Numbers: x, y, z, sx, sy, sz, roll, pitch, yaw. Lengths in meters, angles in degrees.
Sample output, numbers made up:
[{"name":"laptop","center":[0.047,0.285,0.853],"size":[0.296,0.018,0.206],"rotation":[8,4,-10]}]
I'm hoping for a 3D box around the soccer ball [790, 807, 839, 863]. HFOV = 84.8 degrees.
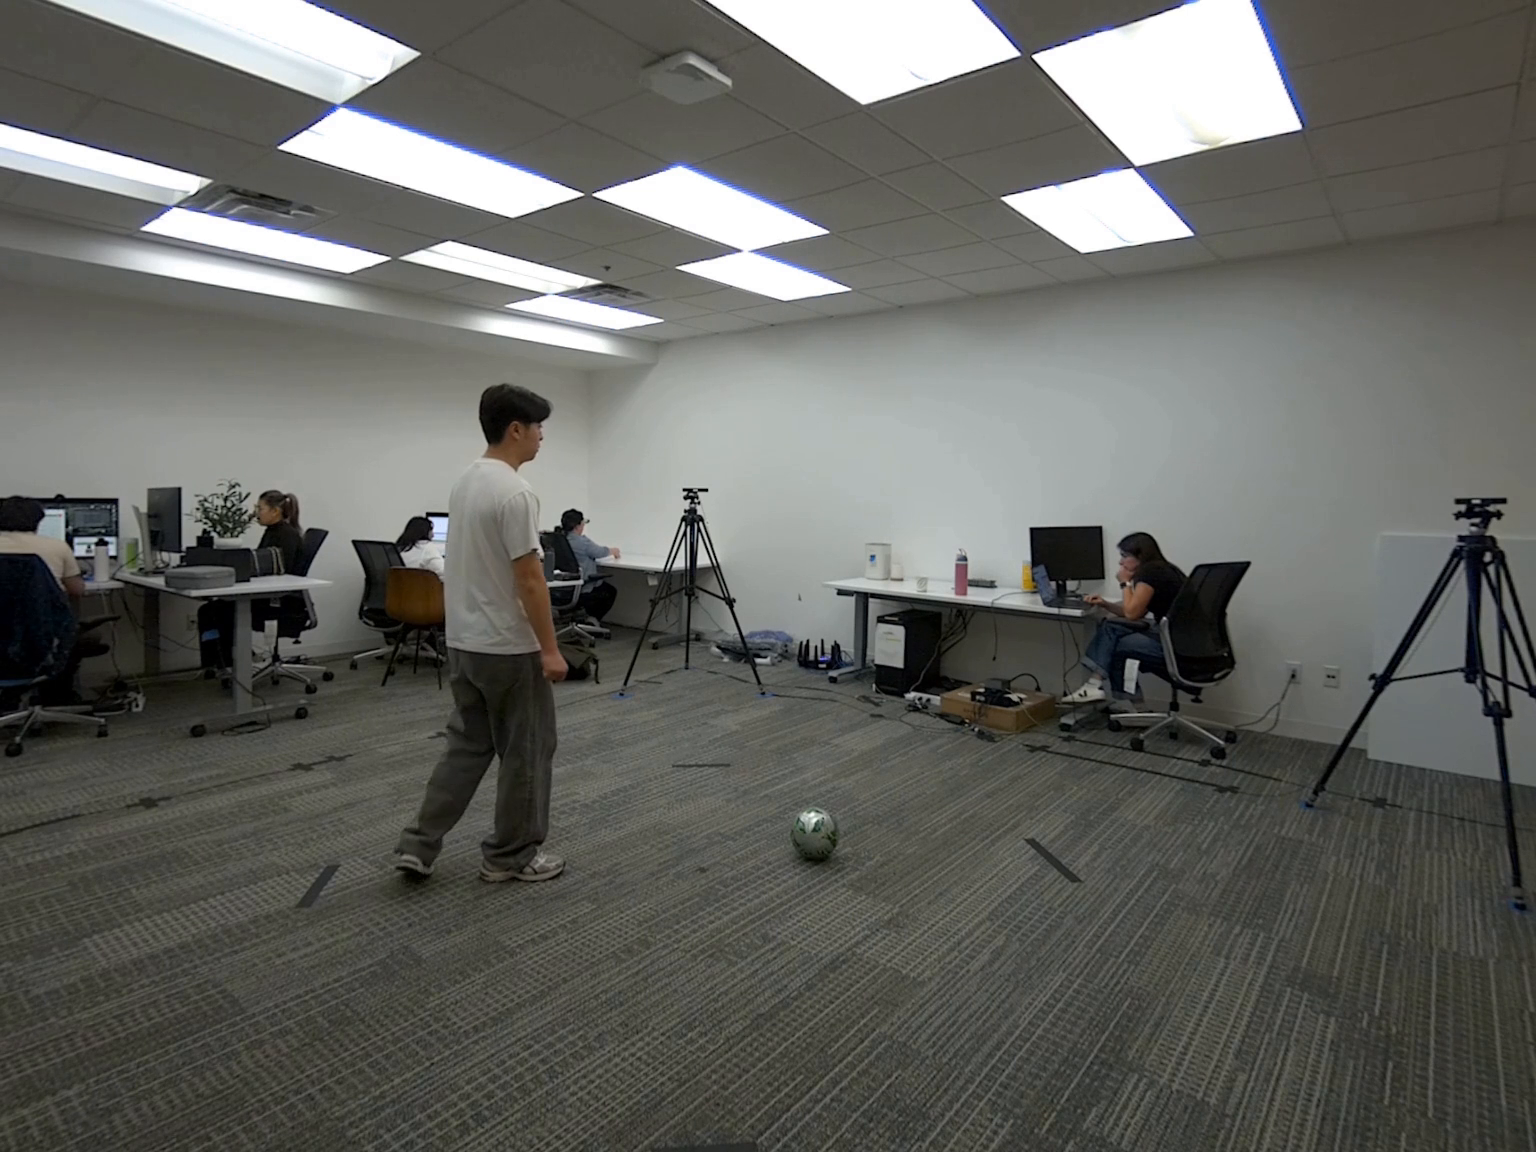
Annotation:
[{"name":"soccer ball","center":[0.179,0.970,3.228],"size":[0.187,0.187,0.188],"rotation":[1,4,-2]}]
